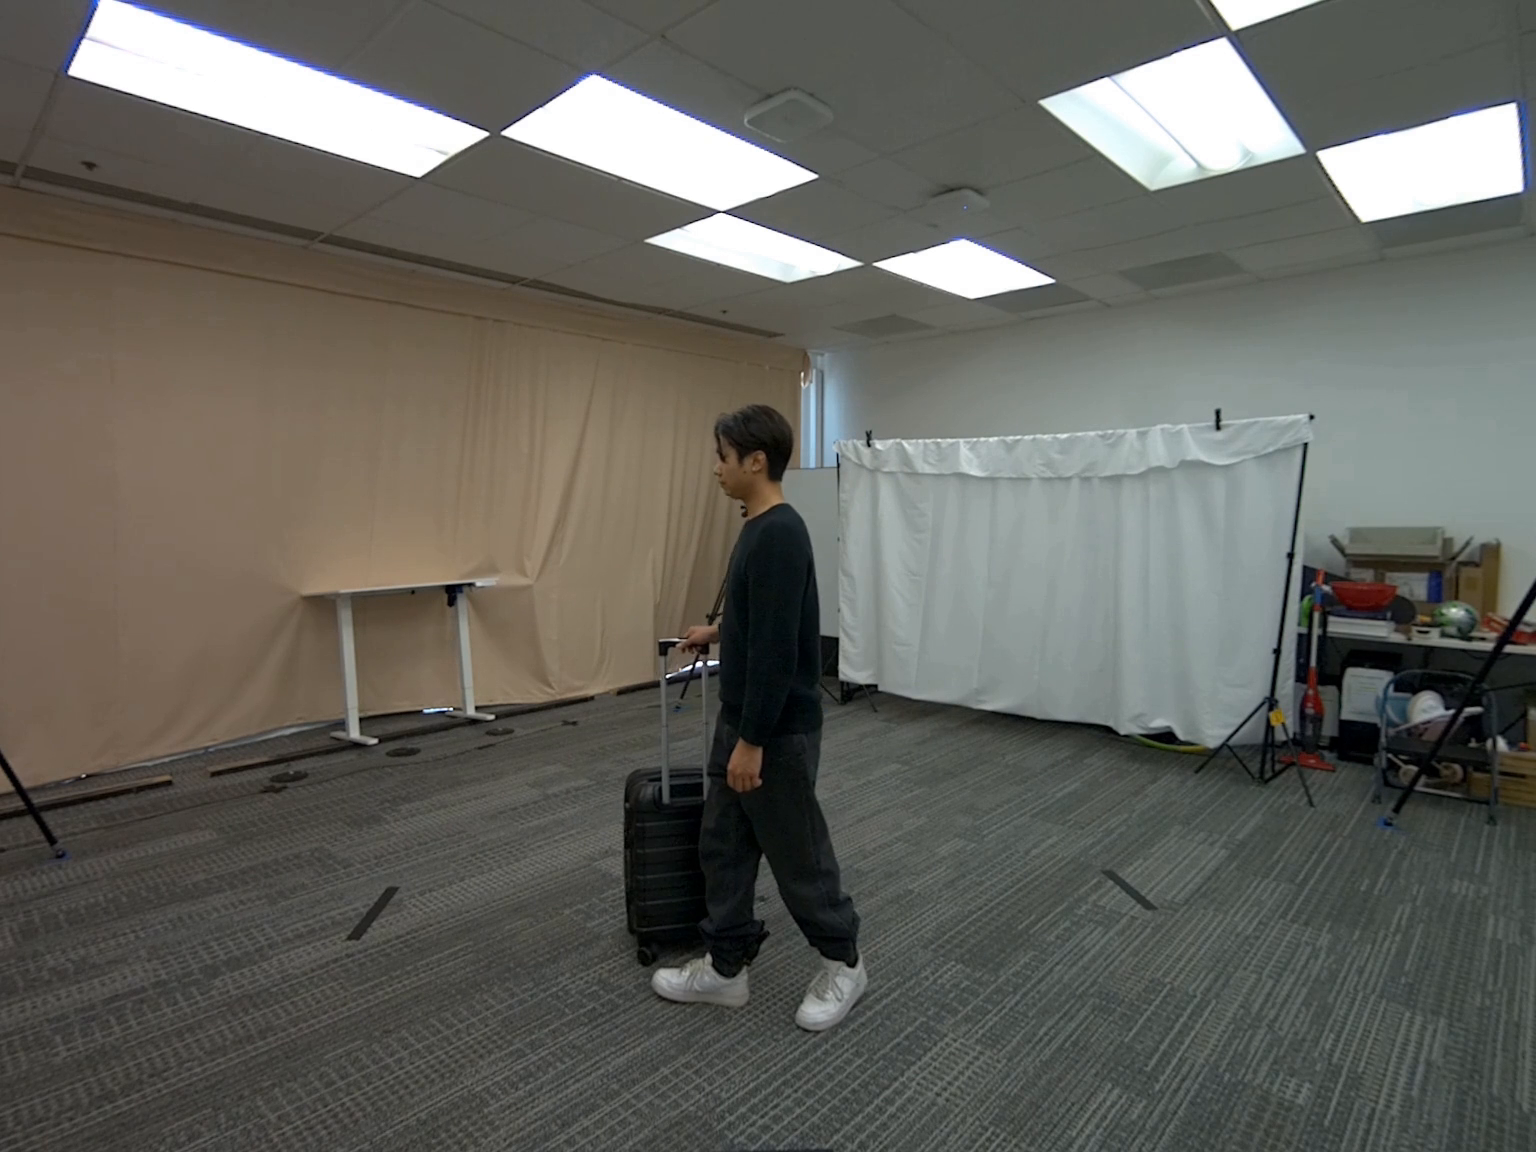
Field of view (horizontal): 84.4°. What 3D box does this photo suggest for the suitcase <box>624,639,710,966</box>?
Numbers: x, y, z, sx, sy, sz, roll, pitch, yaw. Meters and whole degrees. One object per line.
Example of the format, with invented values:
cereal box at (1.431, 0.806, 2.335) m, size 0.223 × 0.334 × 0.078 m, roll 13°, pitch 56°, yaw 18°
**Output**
suitcase at (-0.282, 0.688, 2.705) m, size 0.379 × 0.978 × 0.261 m, roll 0°, pitch 0°, yaw -14°
